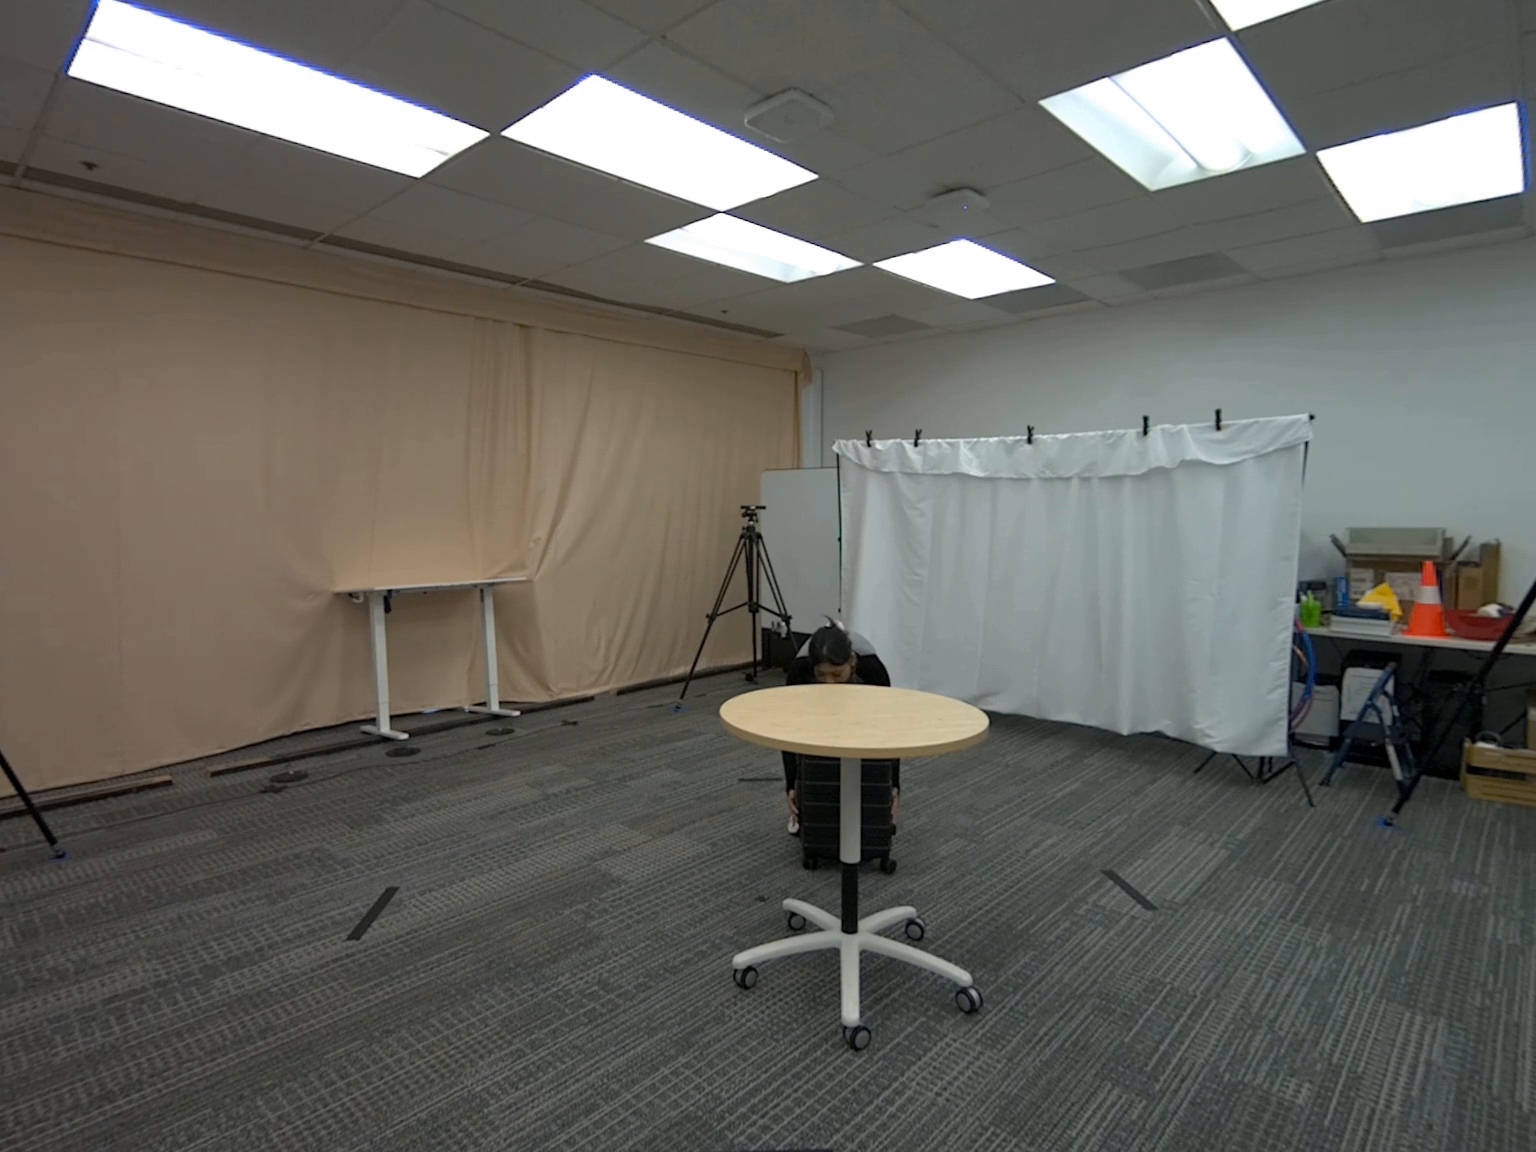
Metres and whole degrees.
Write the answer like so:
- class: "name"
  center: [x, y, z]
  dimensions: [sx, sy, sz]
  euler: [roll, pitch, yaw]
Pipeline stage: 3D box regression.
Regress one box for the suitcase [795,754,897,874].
- class: "suitcase"
  center: [0.304, 0.839, 3.294]
  dimensions: [0.378, 0.548, 0.247]
  euler: [-1, 2, 5]
